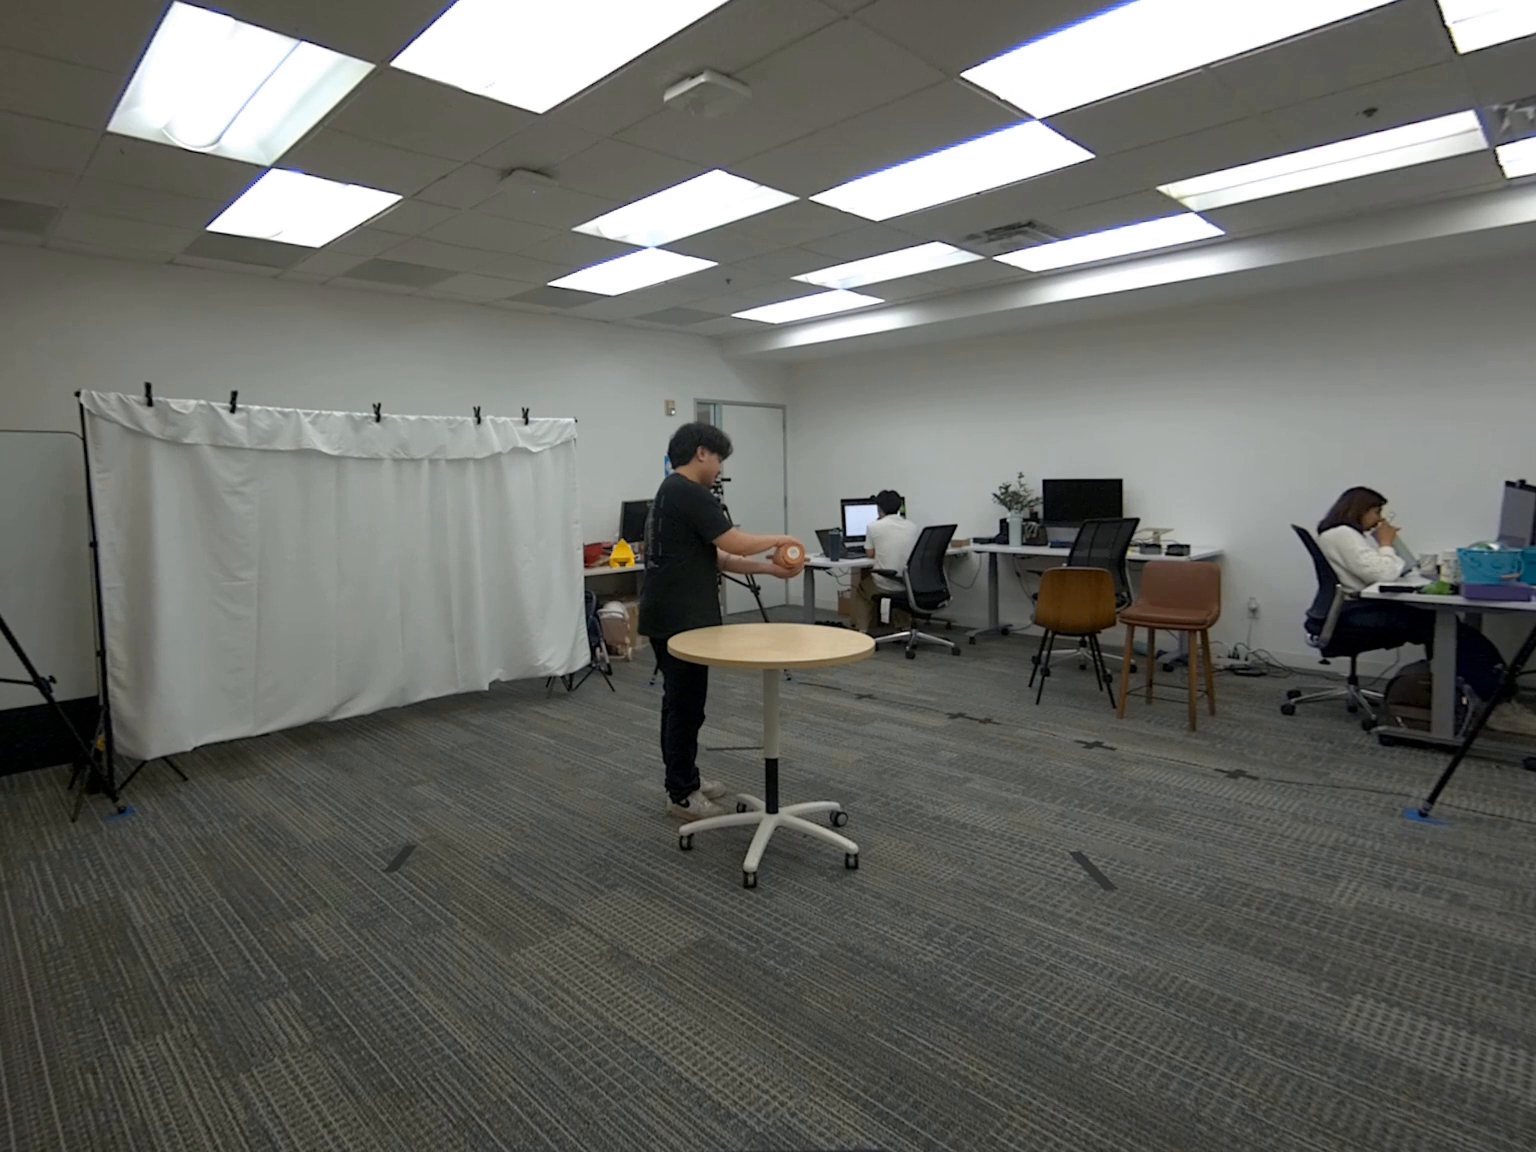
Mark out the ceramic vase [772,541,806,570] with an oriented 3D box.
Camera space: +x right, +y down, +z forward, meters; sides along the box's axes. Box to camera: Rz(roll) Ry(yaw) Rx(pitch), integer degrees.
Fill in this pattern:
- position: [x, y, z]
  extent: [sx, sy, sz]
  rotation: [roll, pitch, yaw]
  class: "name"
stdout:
- position: [0.091, -0.086, 3.717]
  extent: [0.158, 0.135, 0.219]
  rotation: [-40, -2, -8]
  class: "ceramic vase"
